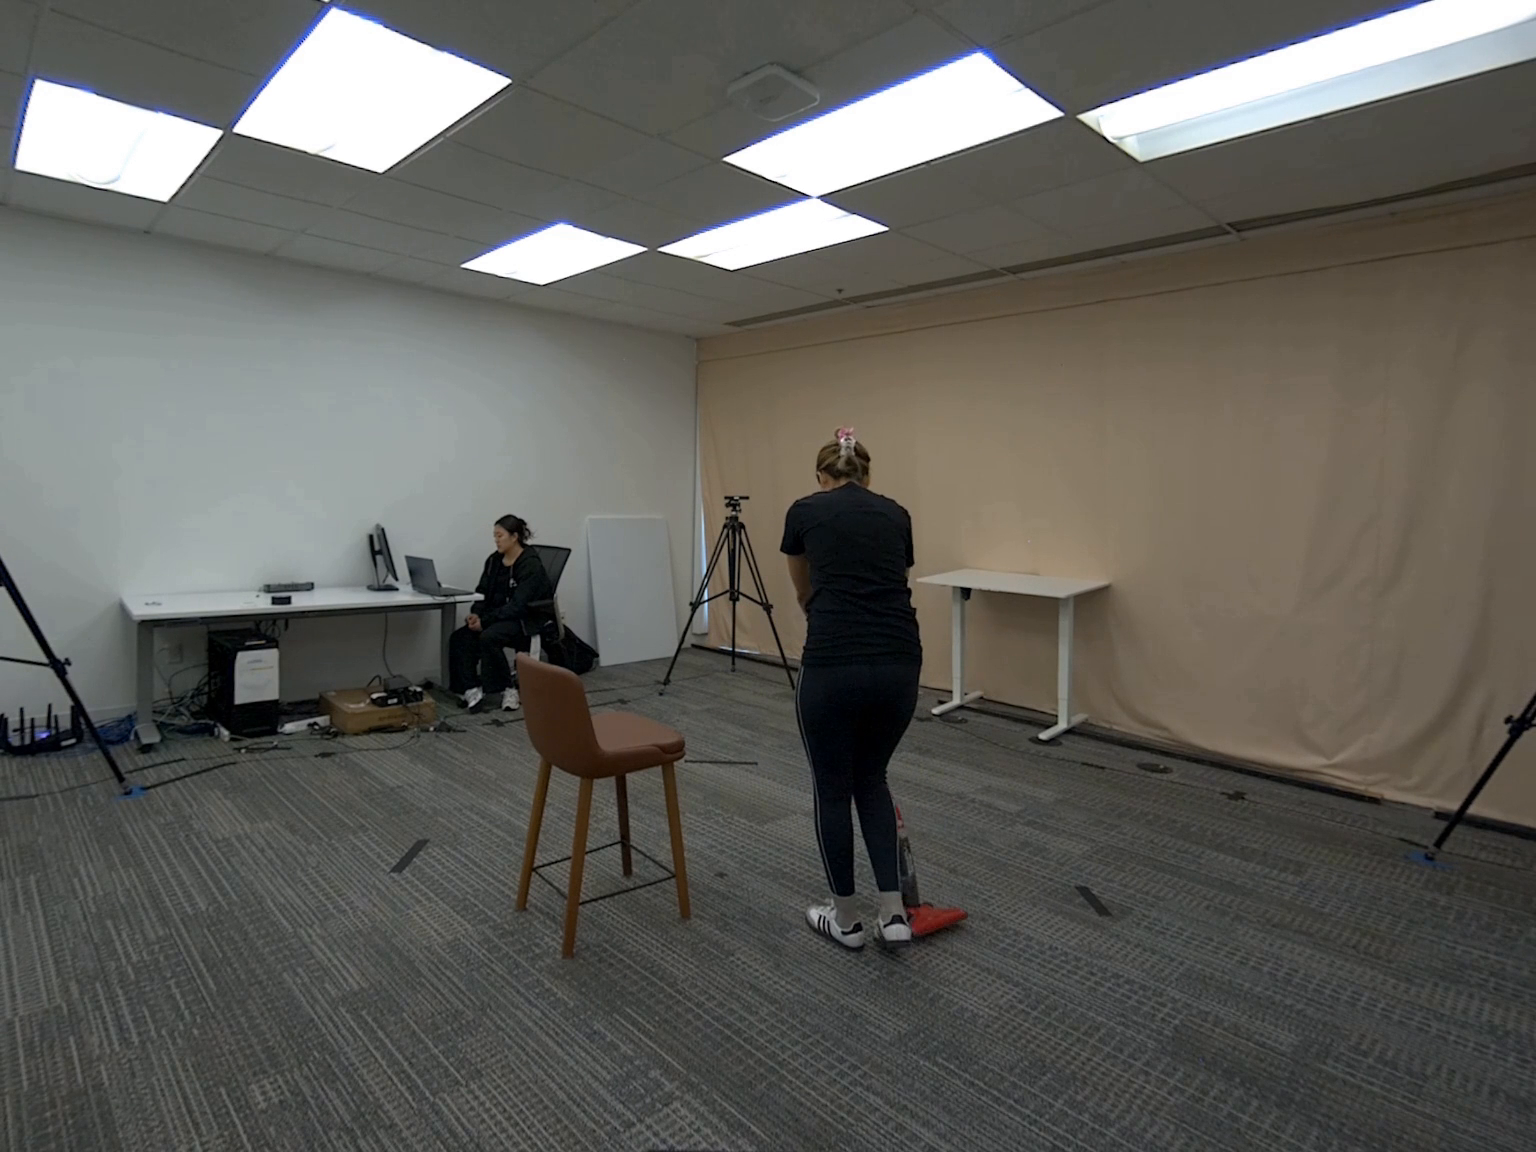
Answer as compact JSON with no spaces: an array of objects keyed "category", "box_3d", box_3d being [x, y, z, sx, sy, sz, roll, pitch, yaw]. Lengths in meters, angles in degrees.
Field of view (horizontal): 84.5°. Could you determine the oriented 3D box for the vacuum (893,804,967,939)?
[{"category":"vacuum","box_3d":[0.353,0.684,2.979,0.247,1.073,0.144,0,-33,-35]}]
